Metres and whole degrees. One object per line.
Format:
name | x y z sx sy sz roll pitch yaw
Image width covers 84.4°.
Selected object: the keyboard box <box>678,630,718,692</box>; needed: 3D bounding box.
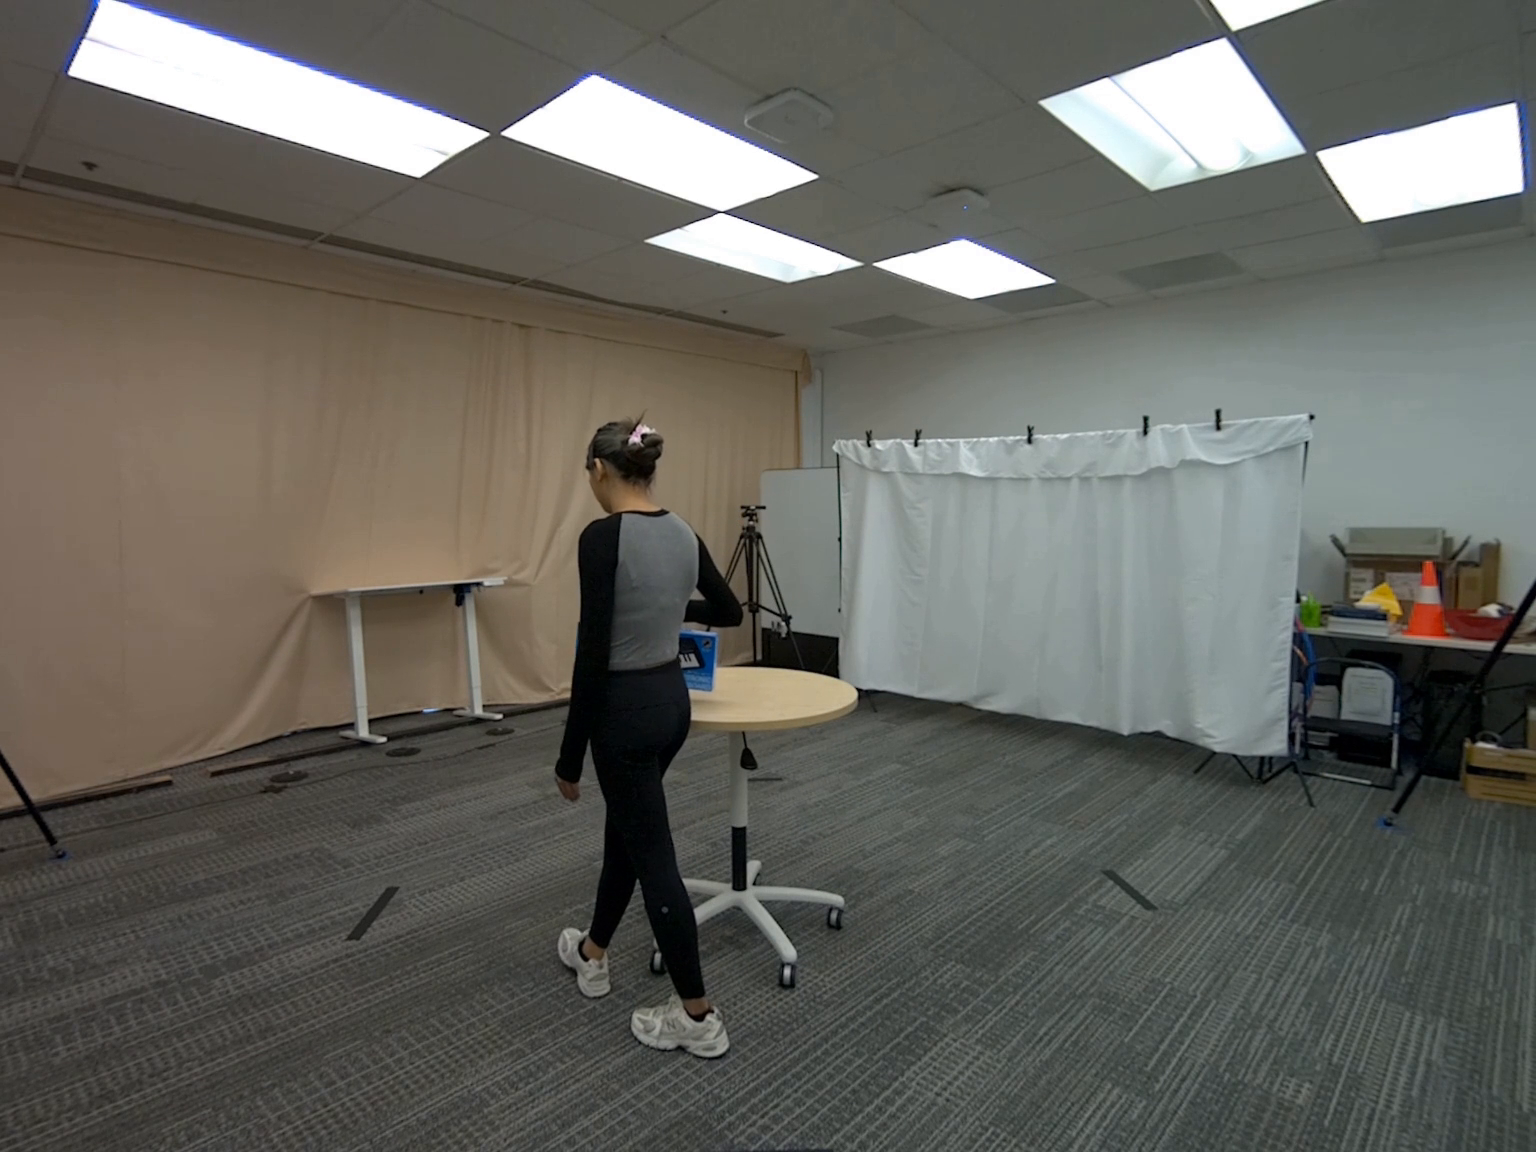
keyboard box | -0.381 0.235 2.602 0.441 0.175 0.059 3 5 9
